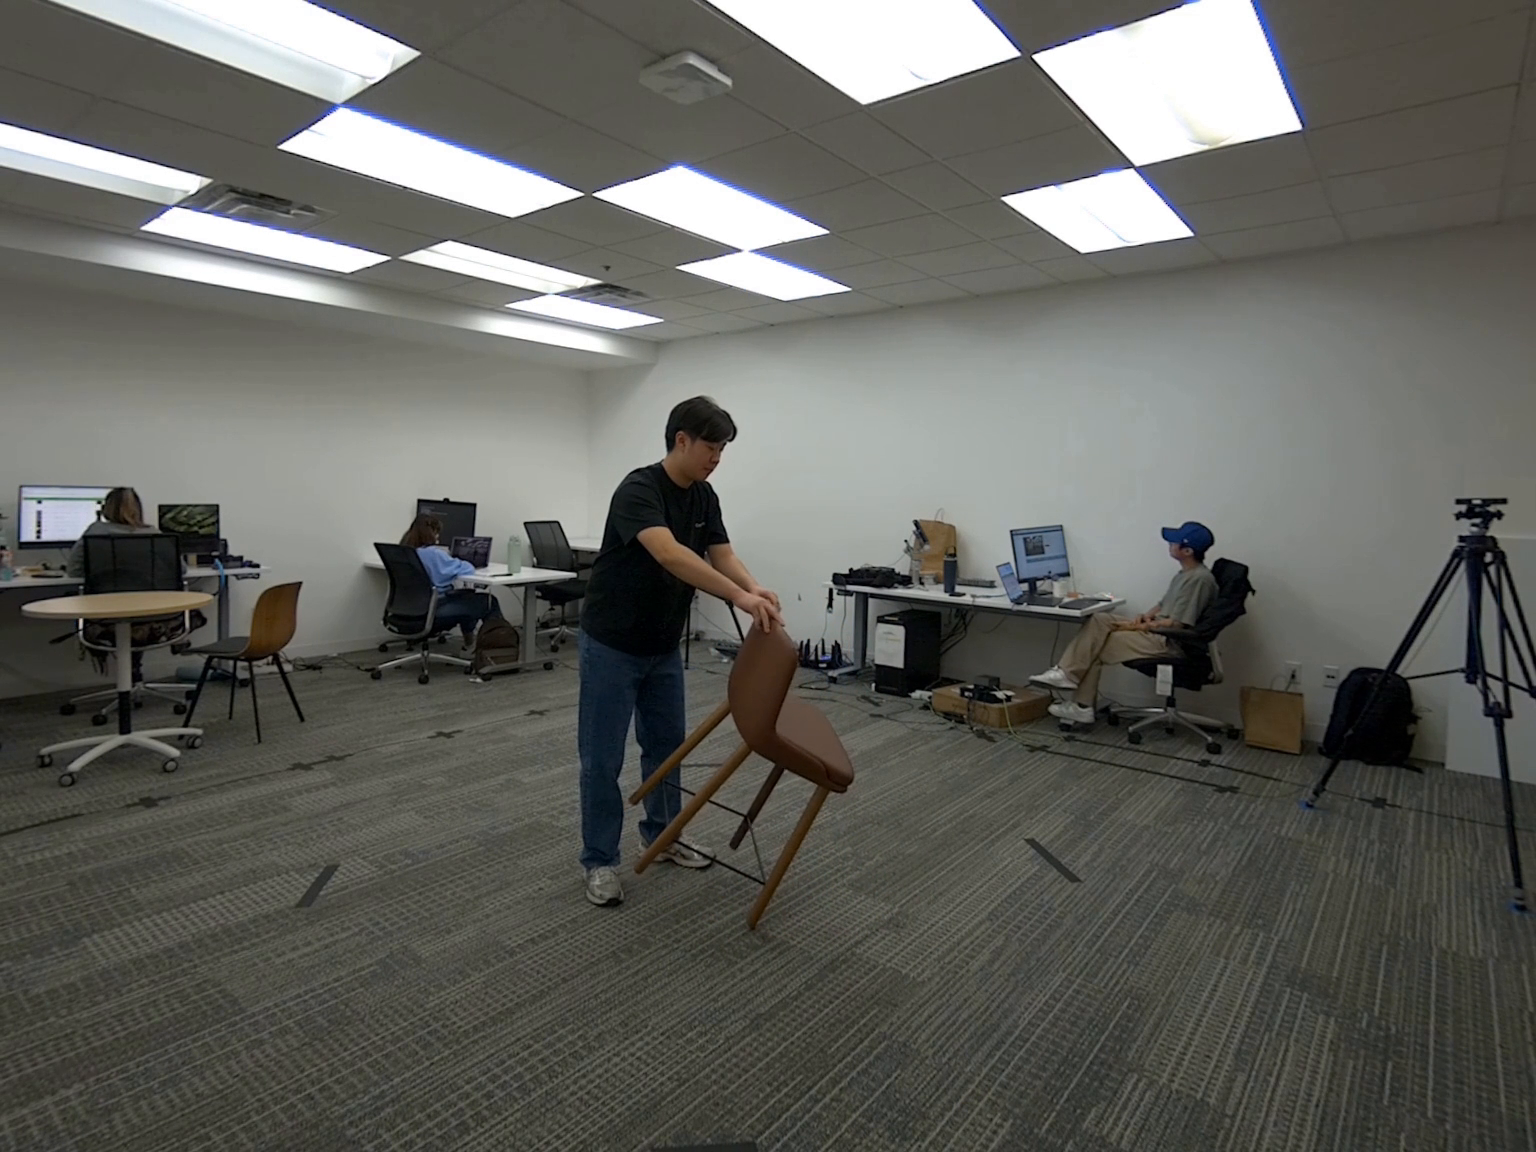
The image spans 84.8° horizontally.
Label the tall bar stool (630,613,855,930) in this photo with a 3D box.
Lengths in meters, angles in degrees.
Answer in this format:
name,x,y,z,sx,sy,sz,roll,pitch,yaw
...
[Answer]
name,x,y,z,sx,sy,sz,roll,pitch,yaw
tall bar stool,-0.031,0.588,2.731,0.457,0.887,0.468,28,11,-18
